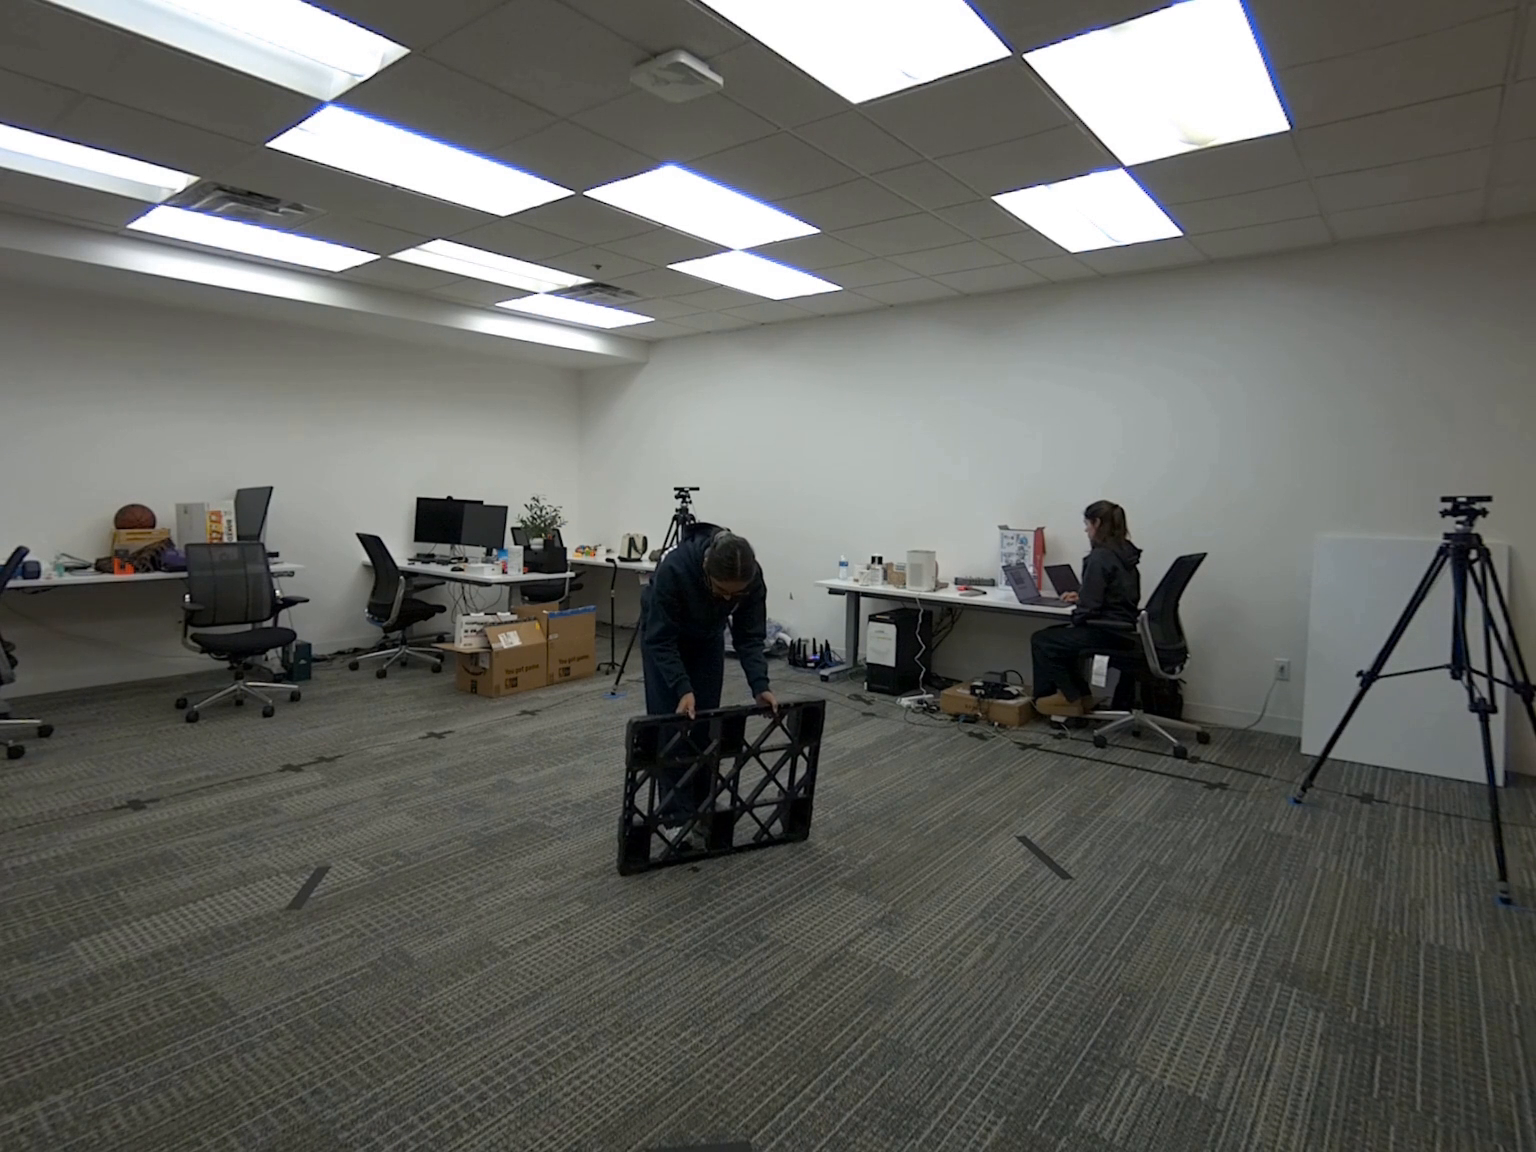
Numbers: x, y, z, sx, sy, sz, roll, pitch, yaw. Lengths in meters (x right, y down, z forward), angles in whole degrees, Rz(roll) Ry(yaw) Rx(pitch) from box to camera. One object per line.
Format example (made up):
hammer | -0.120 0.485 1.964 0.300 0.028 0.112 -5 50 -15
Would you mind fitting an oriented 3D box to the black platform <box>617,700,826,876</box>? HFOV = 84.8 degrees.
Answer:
black platform | -0.188 0.756 3.199 0.785 0.599 0.148 -1 14 -27
